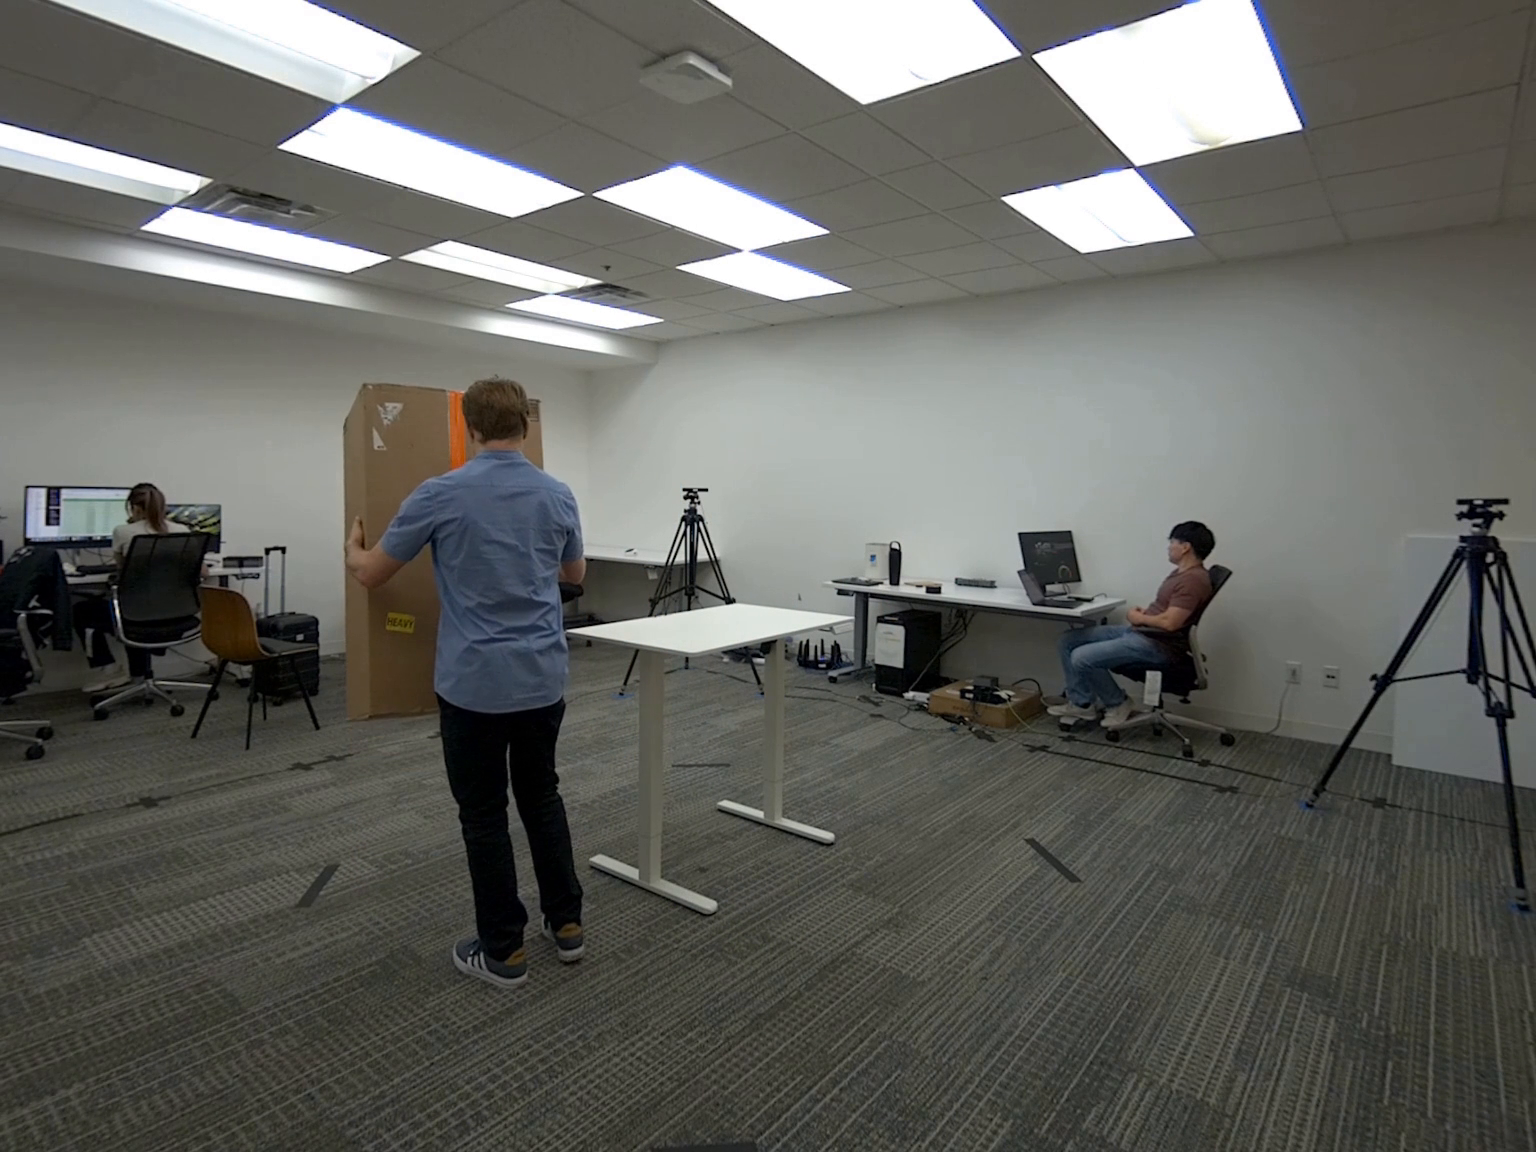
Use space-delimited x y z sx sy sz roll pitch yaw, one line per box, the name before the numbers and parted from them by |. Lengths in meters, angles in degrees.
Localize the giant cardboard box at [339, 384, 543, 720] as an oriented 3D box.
giant cardboard box | -1.088 -0.070 2.850 0.561 1.038 0.434 0 -12 -33
